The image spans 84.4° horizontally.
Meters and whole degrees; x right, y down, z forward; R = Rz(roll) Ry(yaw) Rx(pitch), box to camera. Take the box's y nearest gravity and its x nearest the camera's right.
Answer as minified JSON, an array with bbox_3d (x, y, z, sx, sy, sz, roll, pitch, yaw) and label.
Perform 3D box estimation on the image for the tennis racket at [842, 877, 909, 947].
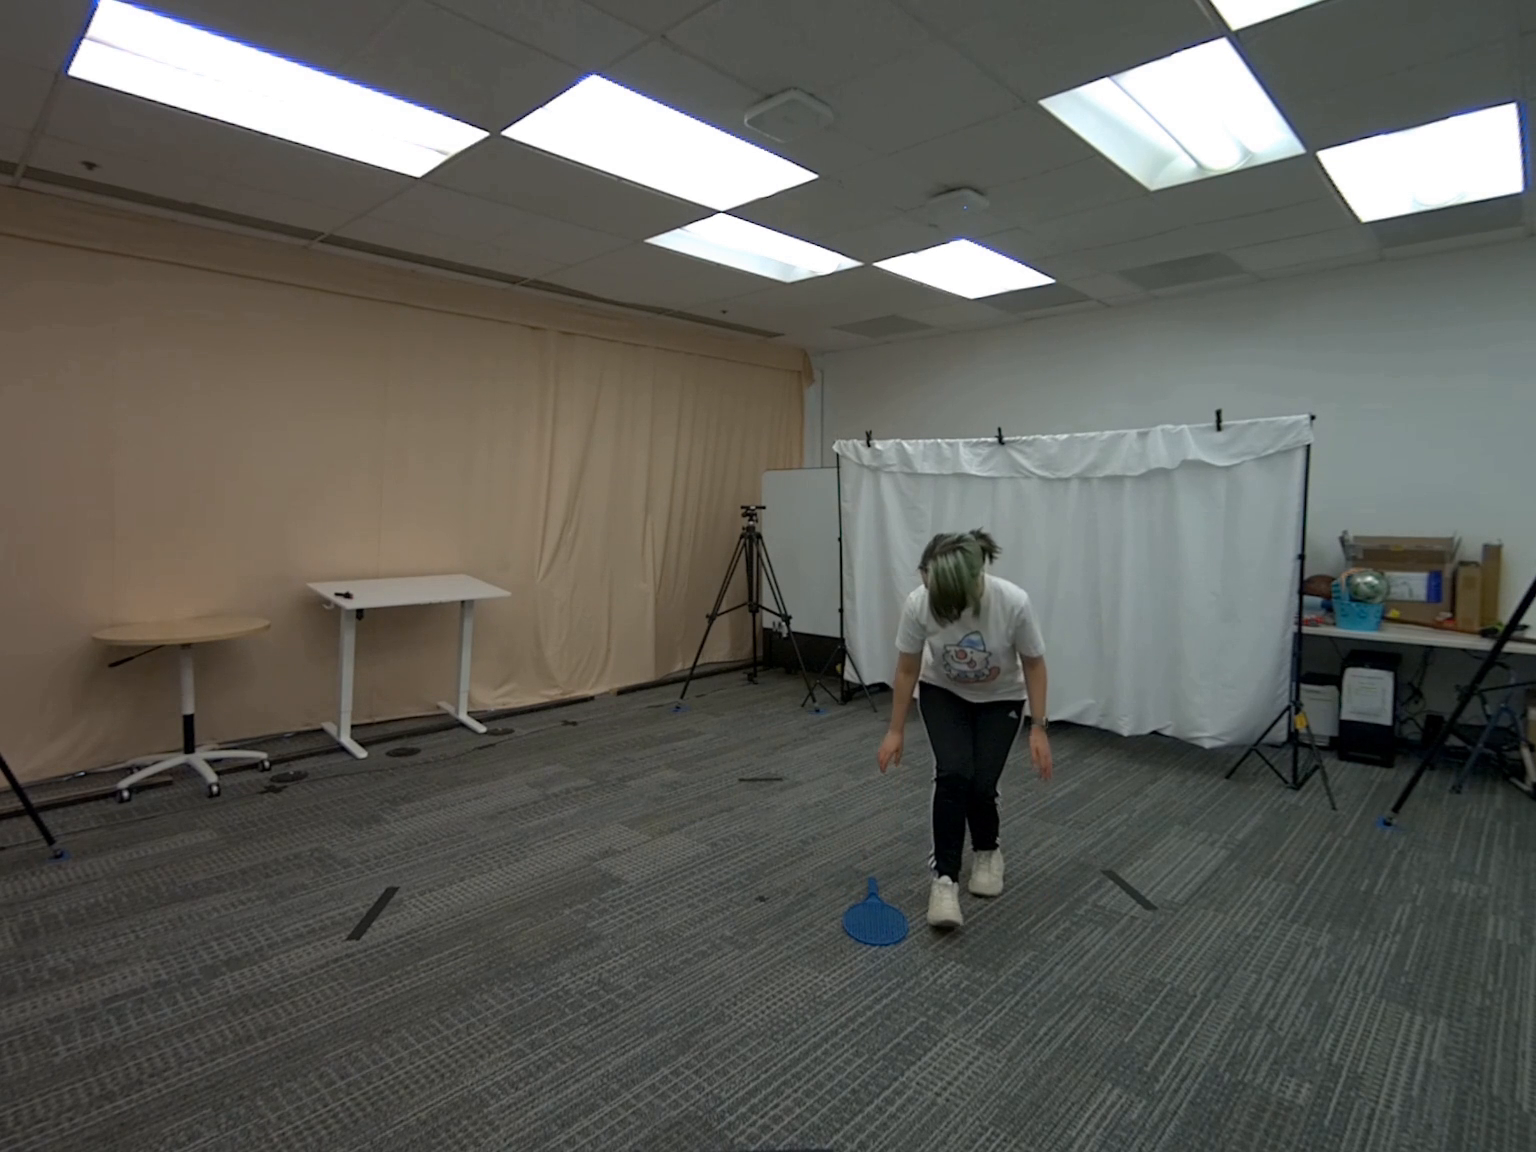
[{"bbox_3d":[0.367,1.140,2.874,0.215,0.031,0.432,0,6,4],"label":"tennis racket"}]
